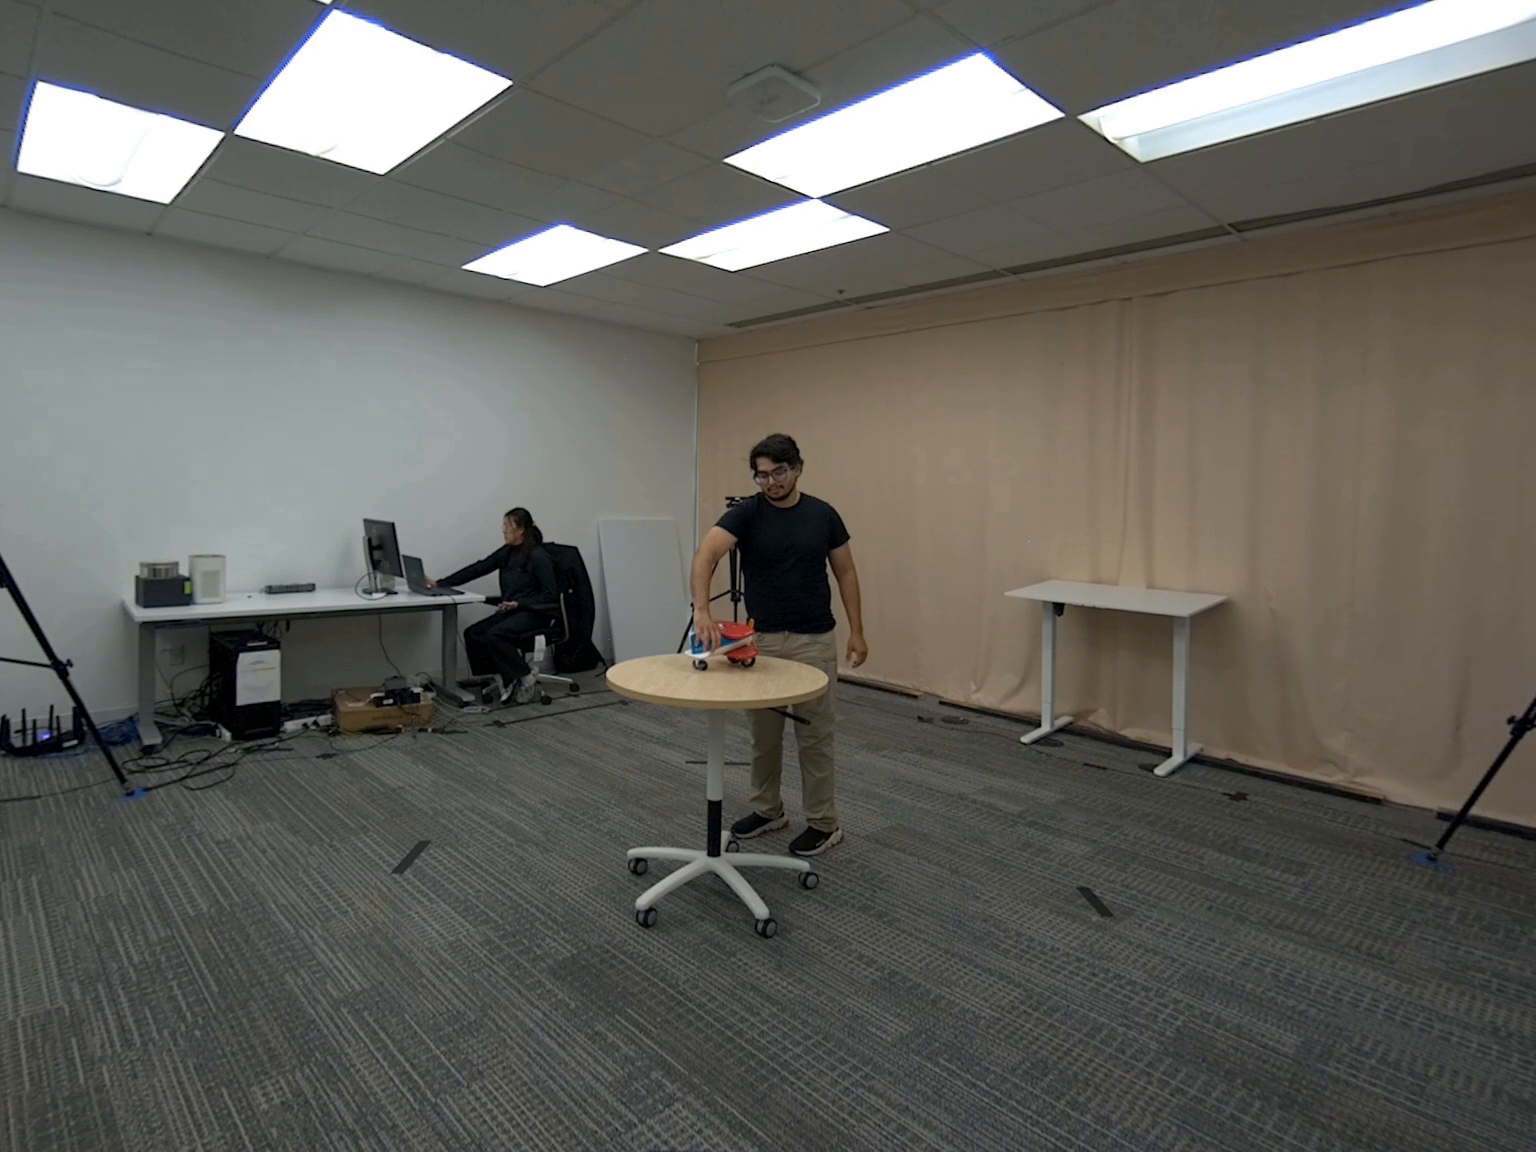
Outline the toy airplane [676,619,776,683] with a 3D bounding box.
[{"bbox_3d":[-0.147,0.258,3.008,0.256,0.156,0.254,5,5,29],"label":"toy airplane"}]
